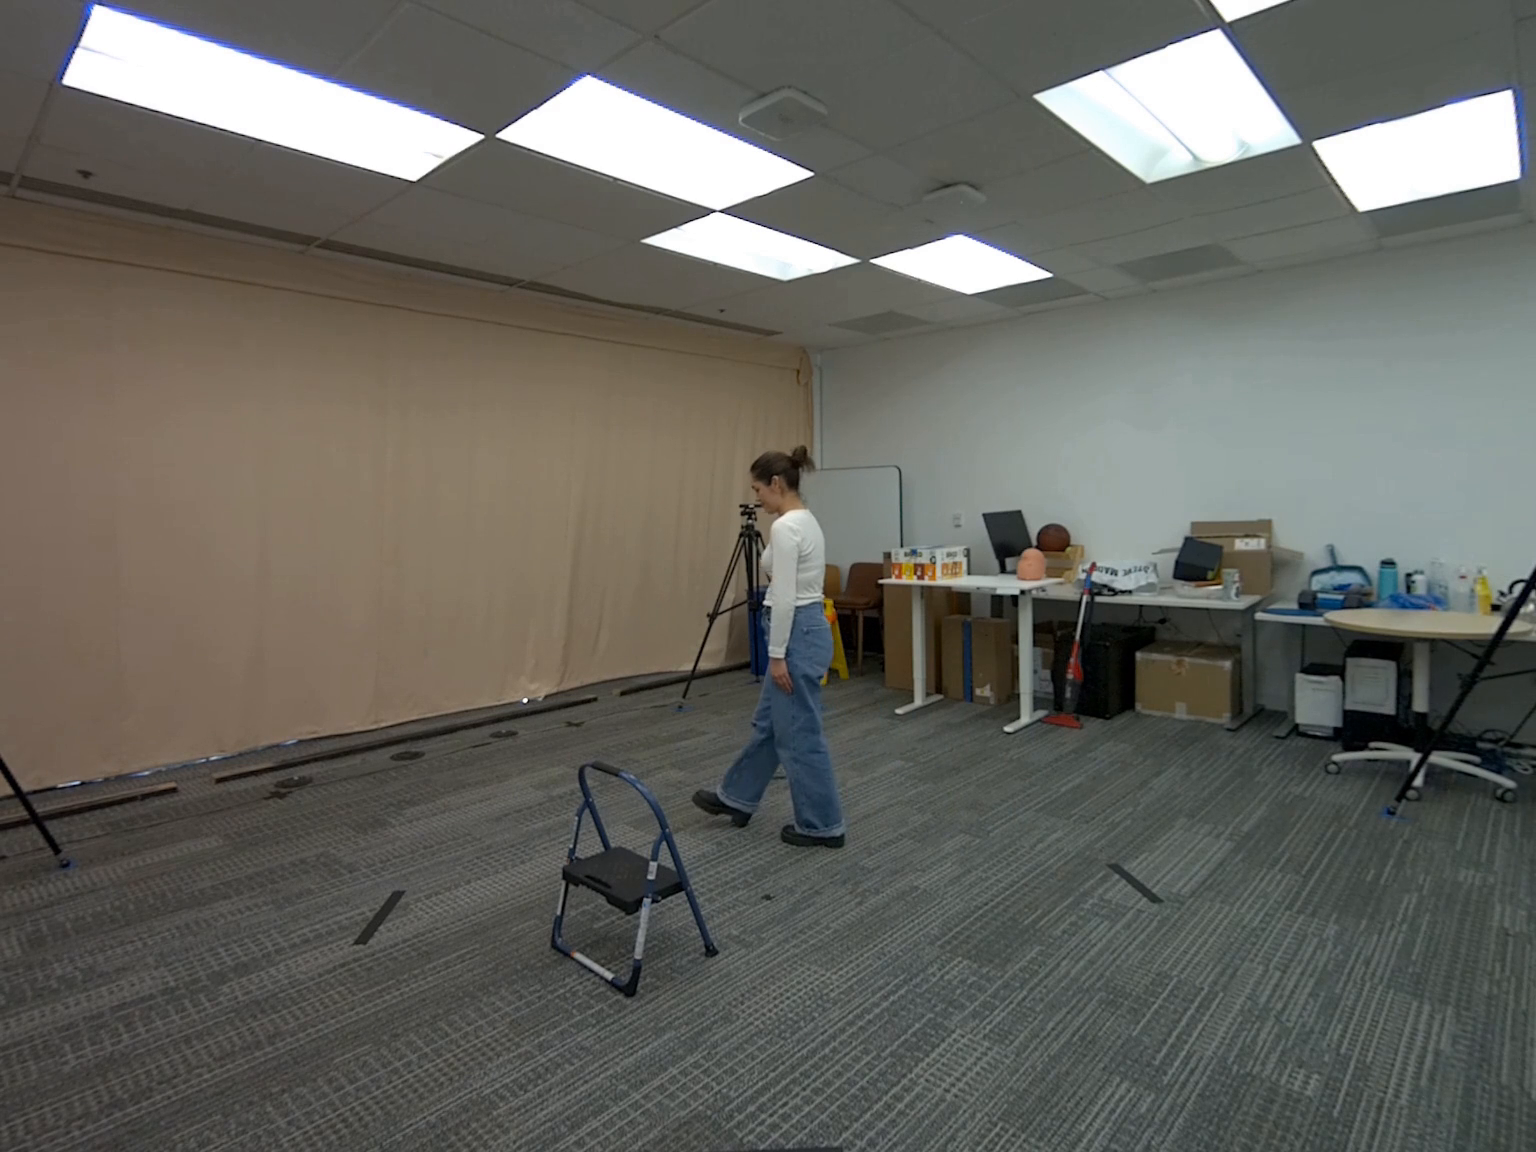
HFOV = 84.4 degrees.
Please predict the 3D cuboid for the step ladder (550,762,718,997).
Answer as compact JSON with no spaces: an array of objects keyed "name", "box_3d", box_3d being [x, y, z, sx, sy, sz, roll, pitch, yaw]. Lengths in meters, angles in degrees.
[{"name":"step ladder","box_3d":[-0.431,0.878,2.634,0.445,0.605,0.339,2,4,43]}]
